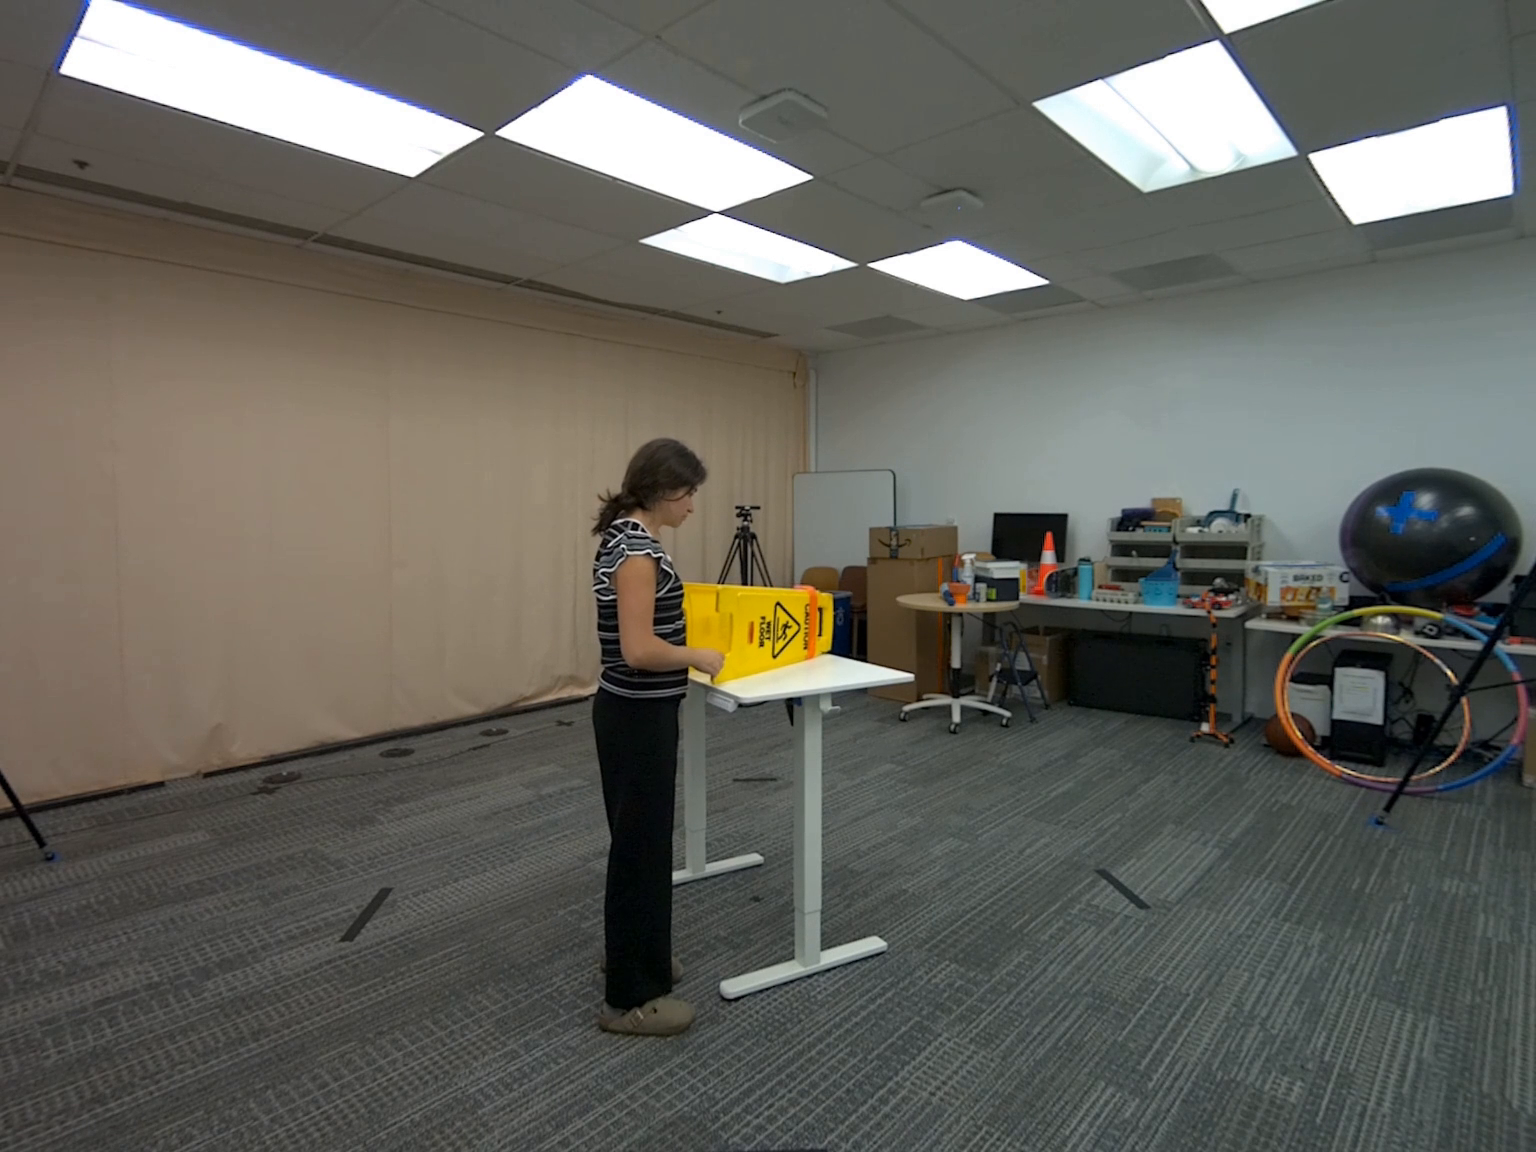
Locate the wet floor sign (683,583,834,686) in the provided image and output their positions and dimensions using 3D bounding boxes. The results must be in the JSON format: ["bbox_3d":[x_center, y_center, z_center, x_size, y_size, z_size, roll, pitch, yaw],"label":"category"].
[{"bbox_3d":[-0.005,0.163,2.691,0.625,0.282,0.299,0,3,-45],"label":"wet floor sign"}]
